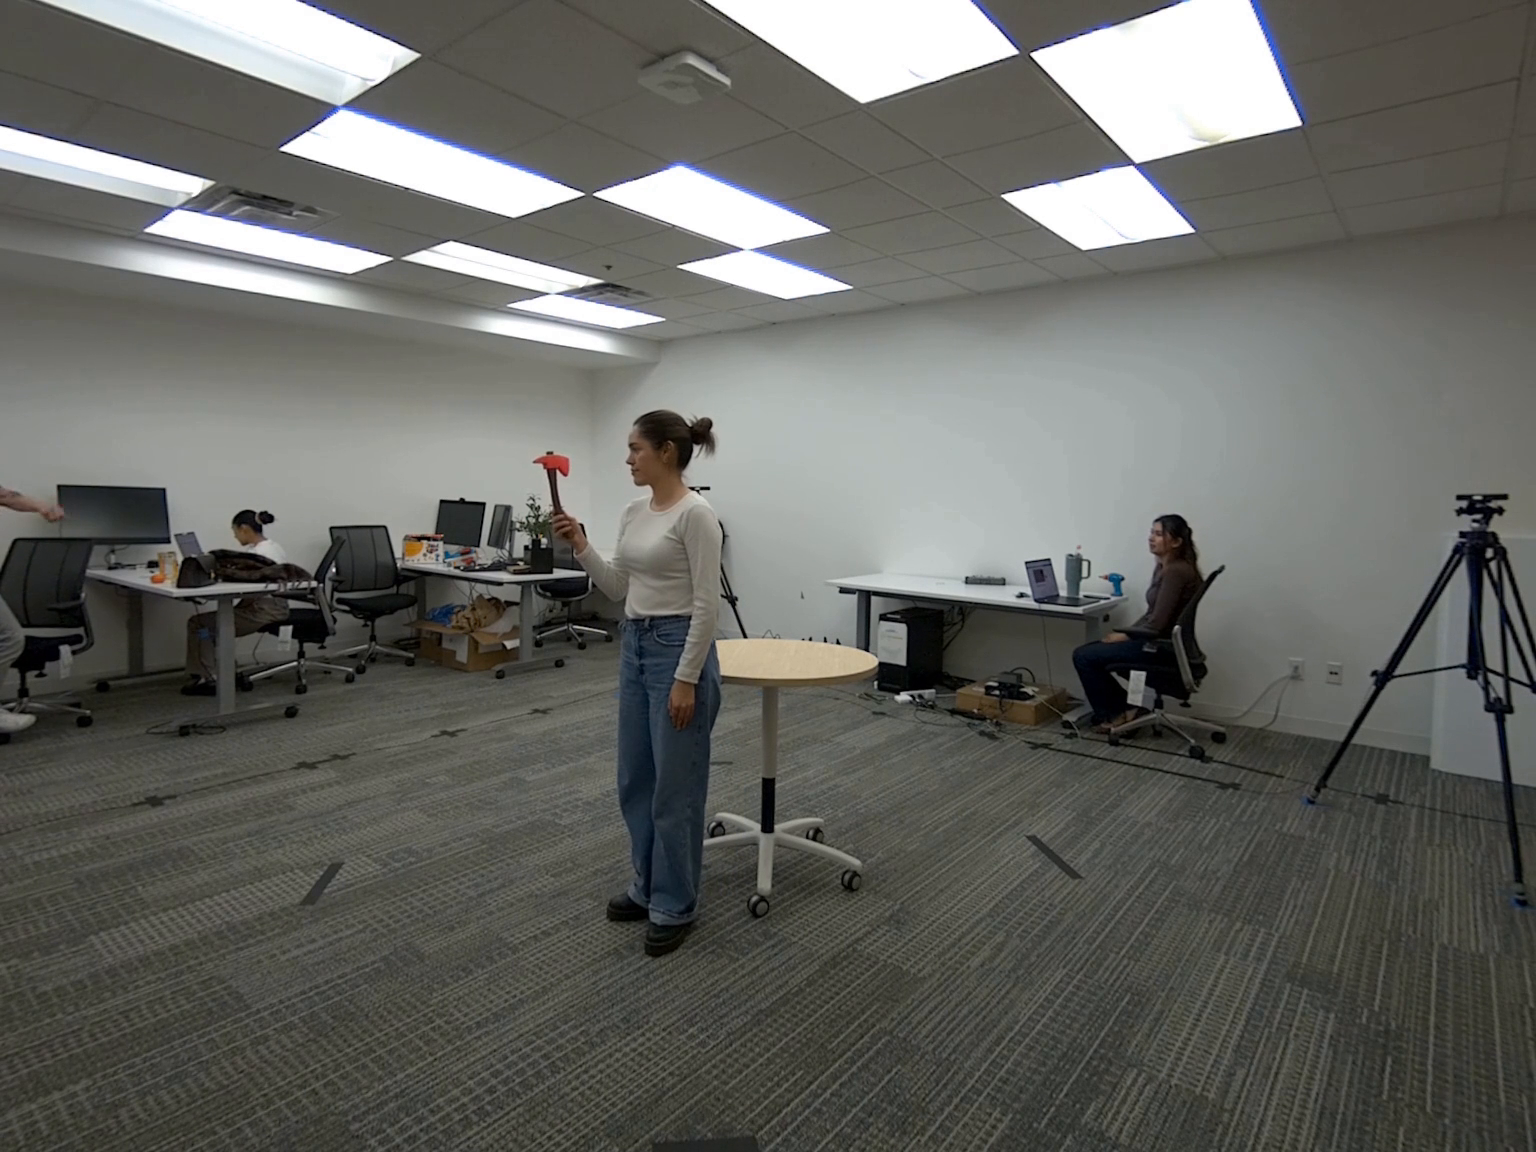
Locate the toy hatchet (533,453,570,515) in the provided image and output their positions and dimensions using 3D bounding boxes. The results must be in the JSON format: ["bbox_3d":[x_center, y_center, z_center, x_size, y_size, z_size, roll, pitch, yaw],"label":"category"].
[{"bbox_3d":[-0.646,-0.266,2.655,0.030,0.266,0.130,-10,17,42],"label":"toy hatchet"}]
